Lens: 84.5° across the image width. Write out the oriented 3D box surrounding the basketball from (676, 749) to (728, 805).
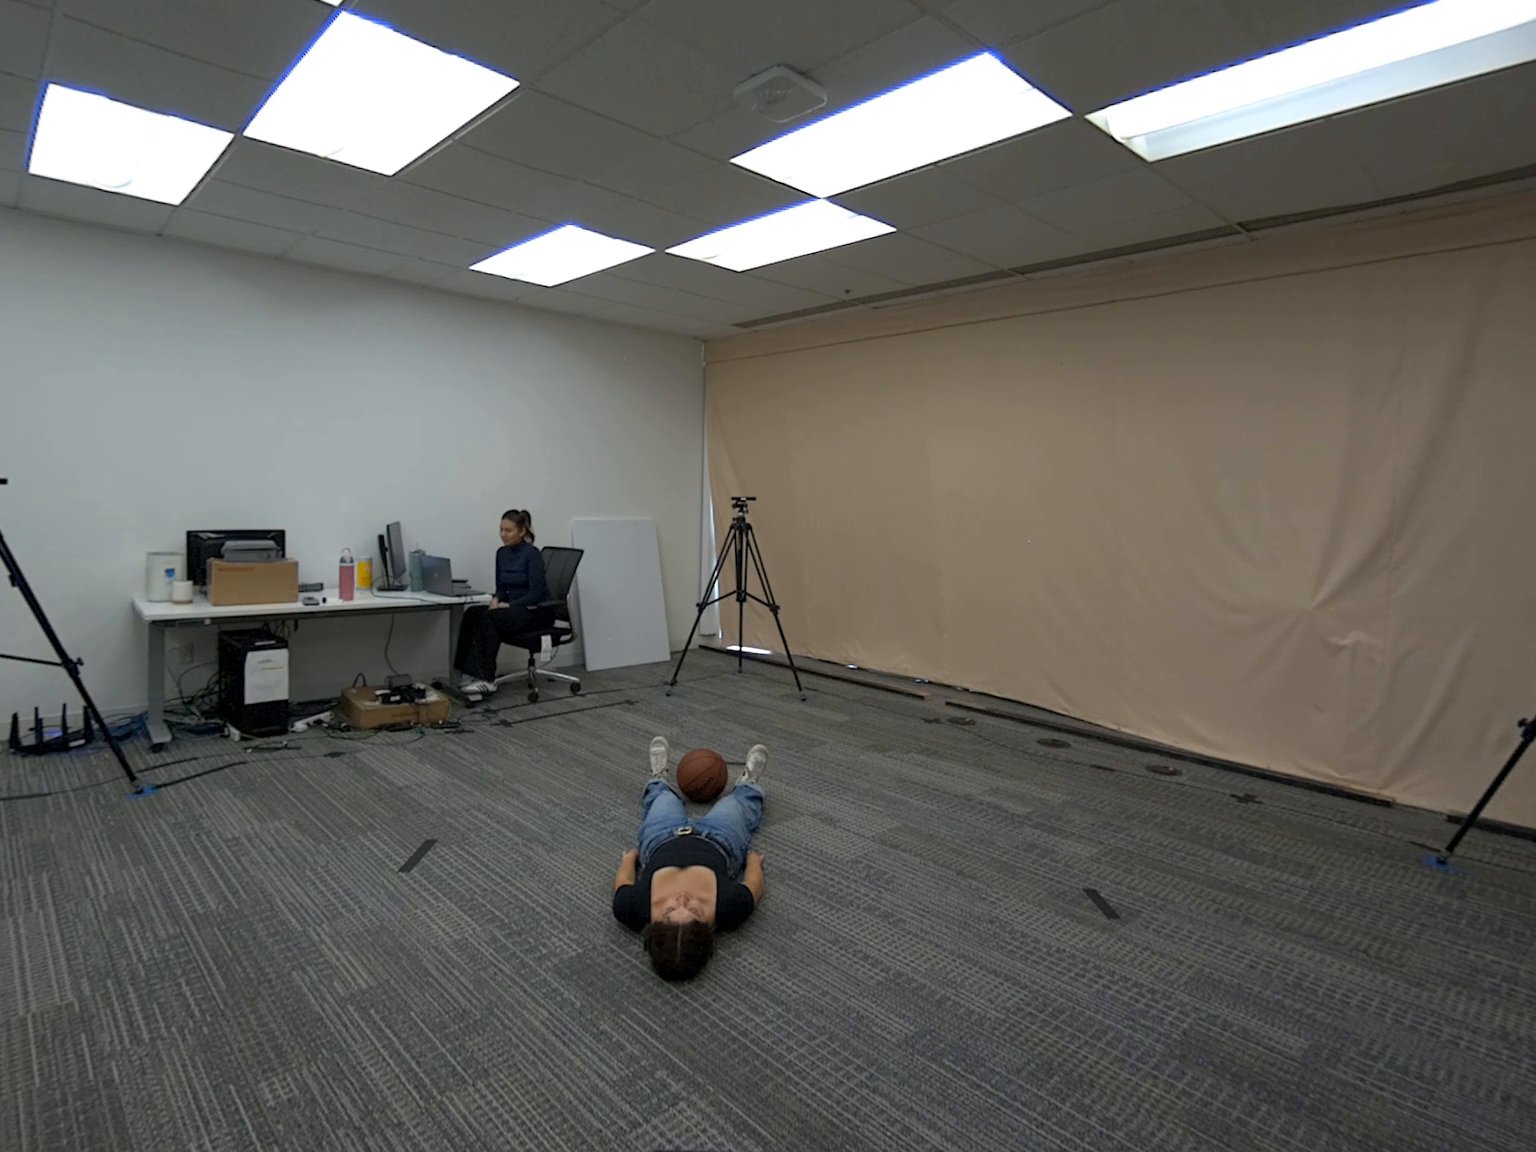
[{"bbox_3d":[-0.312,0.913,3.877,0.236,0.235,0.237,1,4,-1],"label":"basketball"}]
